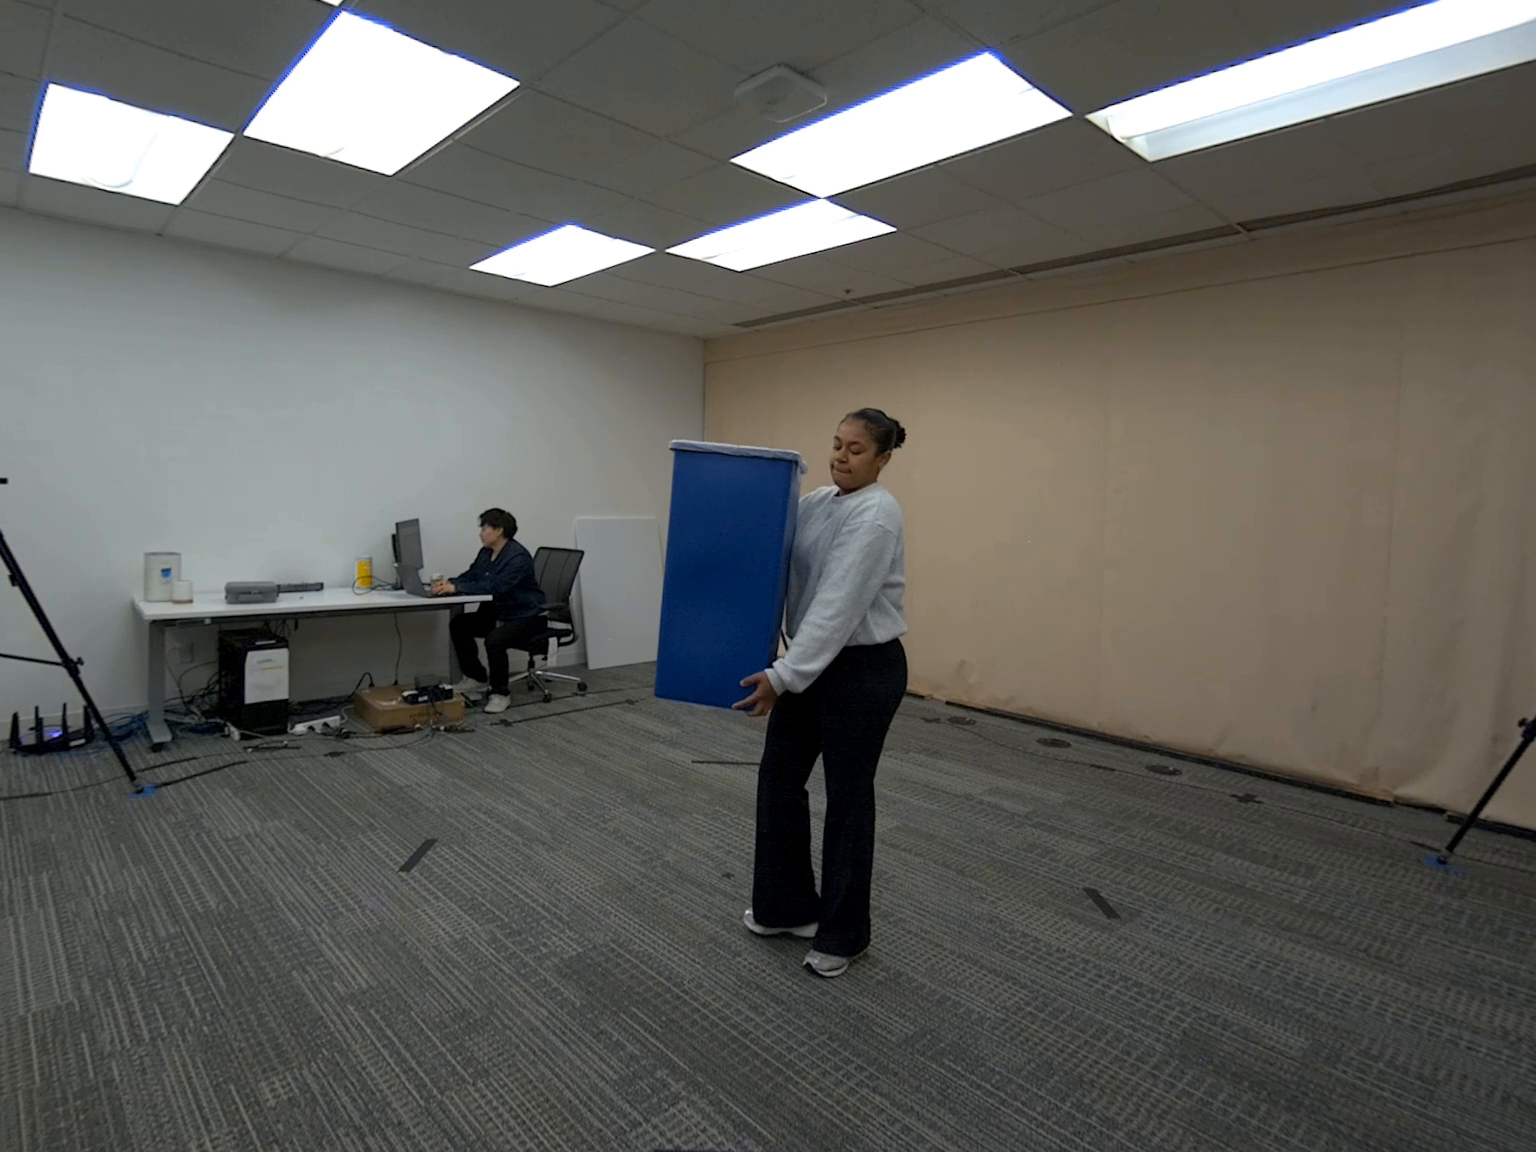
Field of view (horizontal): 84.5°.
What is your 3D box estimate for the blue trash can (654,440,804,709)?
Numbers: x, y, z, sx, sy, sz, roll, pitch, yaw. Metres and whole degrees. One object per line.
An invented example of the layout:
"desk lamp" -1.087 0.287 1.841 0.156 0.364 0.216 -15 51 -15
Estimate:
"blue trash can" -0.119 -0.006 2.460 0.381 0.713 0.371 6 1 7
